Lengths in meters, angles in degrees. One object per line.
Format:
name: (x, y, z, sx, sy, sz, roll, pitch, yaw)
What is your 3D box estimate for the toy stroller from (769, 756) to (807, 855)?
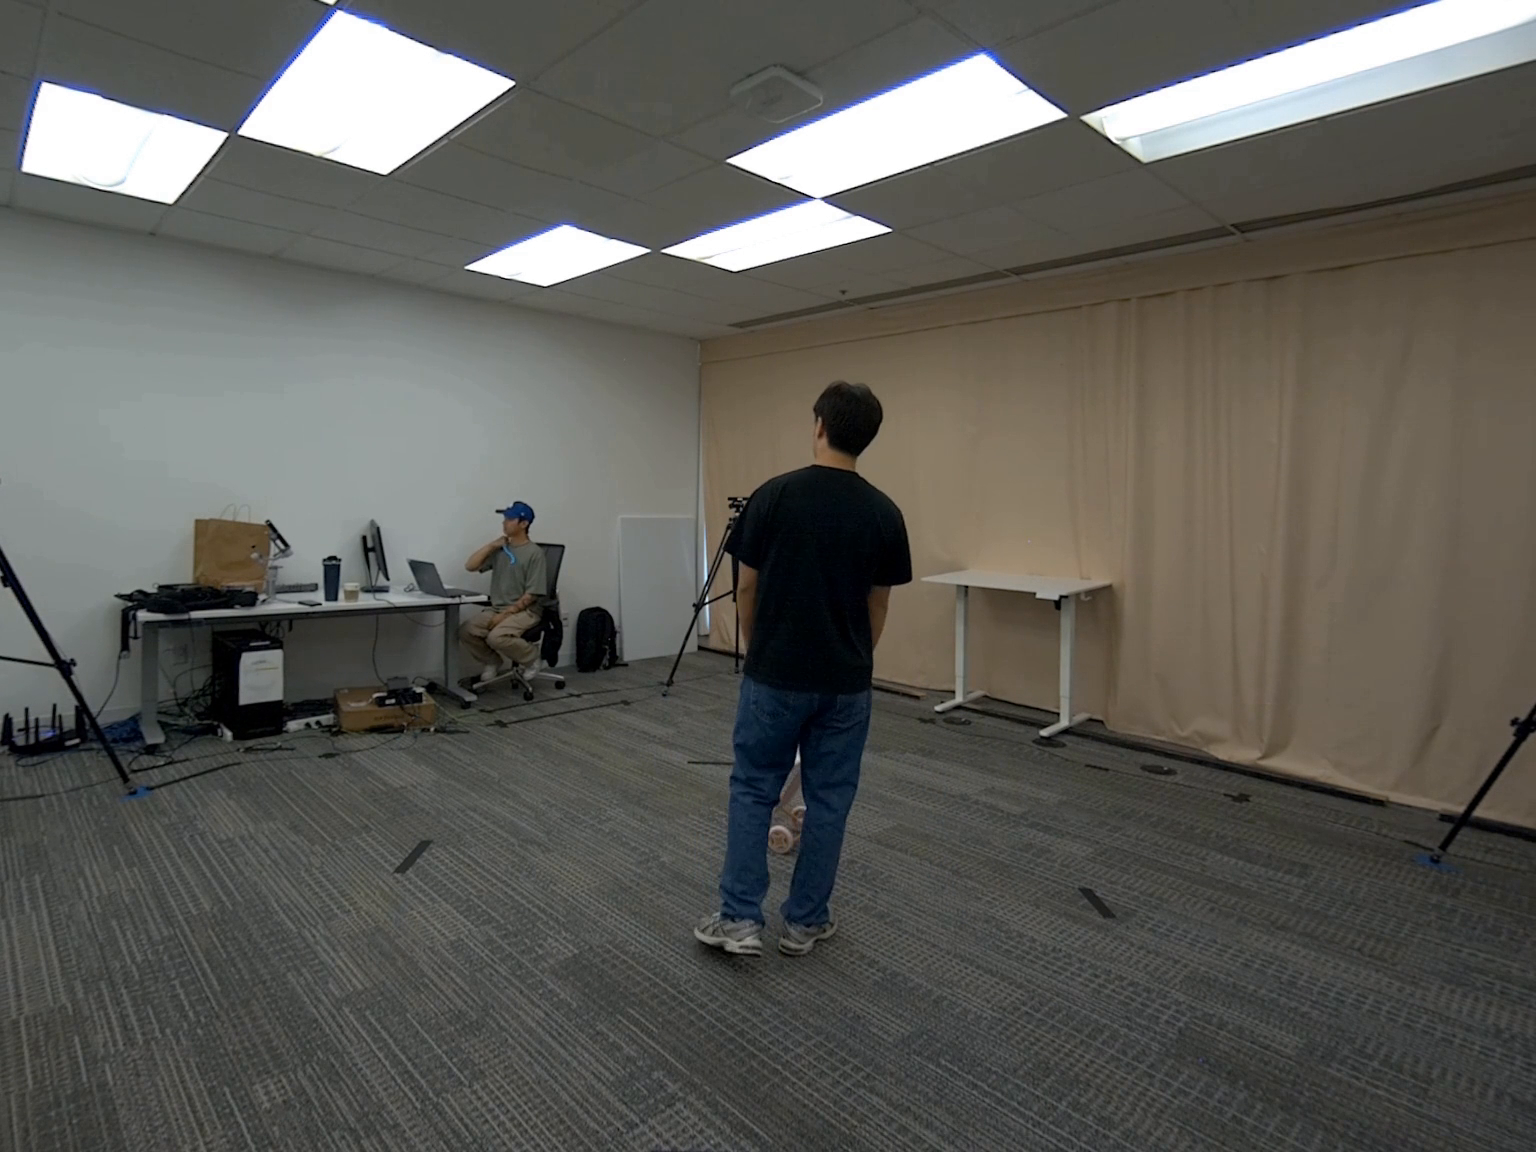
toy stroller: (0.040, 0.861, 3.452, 0.350, 0.532, 0.276, 22, 12, 27)
